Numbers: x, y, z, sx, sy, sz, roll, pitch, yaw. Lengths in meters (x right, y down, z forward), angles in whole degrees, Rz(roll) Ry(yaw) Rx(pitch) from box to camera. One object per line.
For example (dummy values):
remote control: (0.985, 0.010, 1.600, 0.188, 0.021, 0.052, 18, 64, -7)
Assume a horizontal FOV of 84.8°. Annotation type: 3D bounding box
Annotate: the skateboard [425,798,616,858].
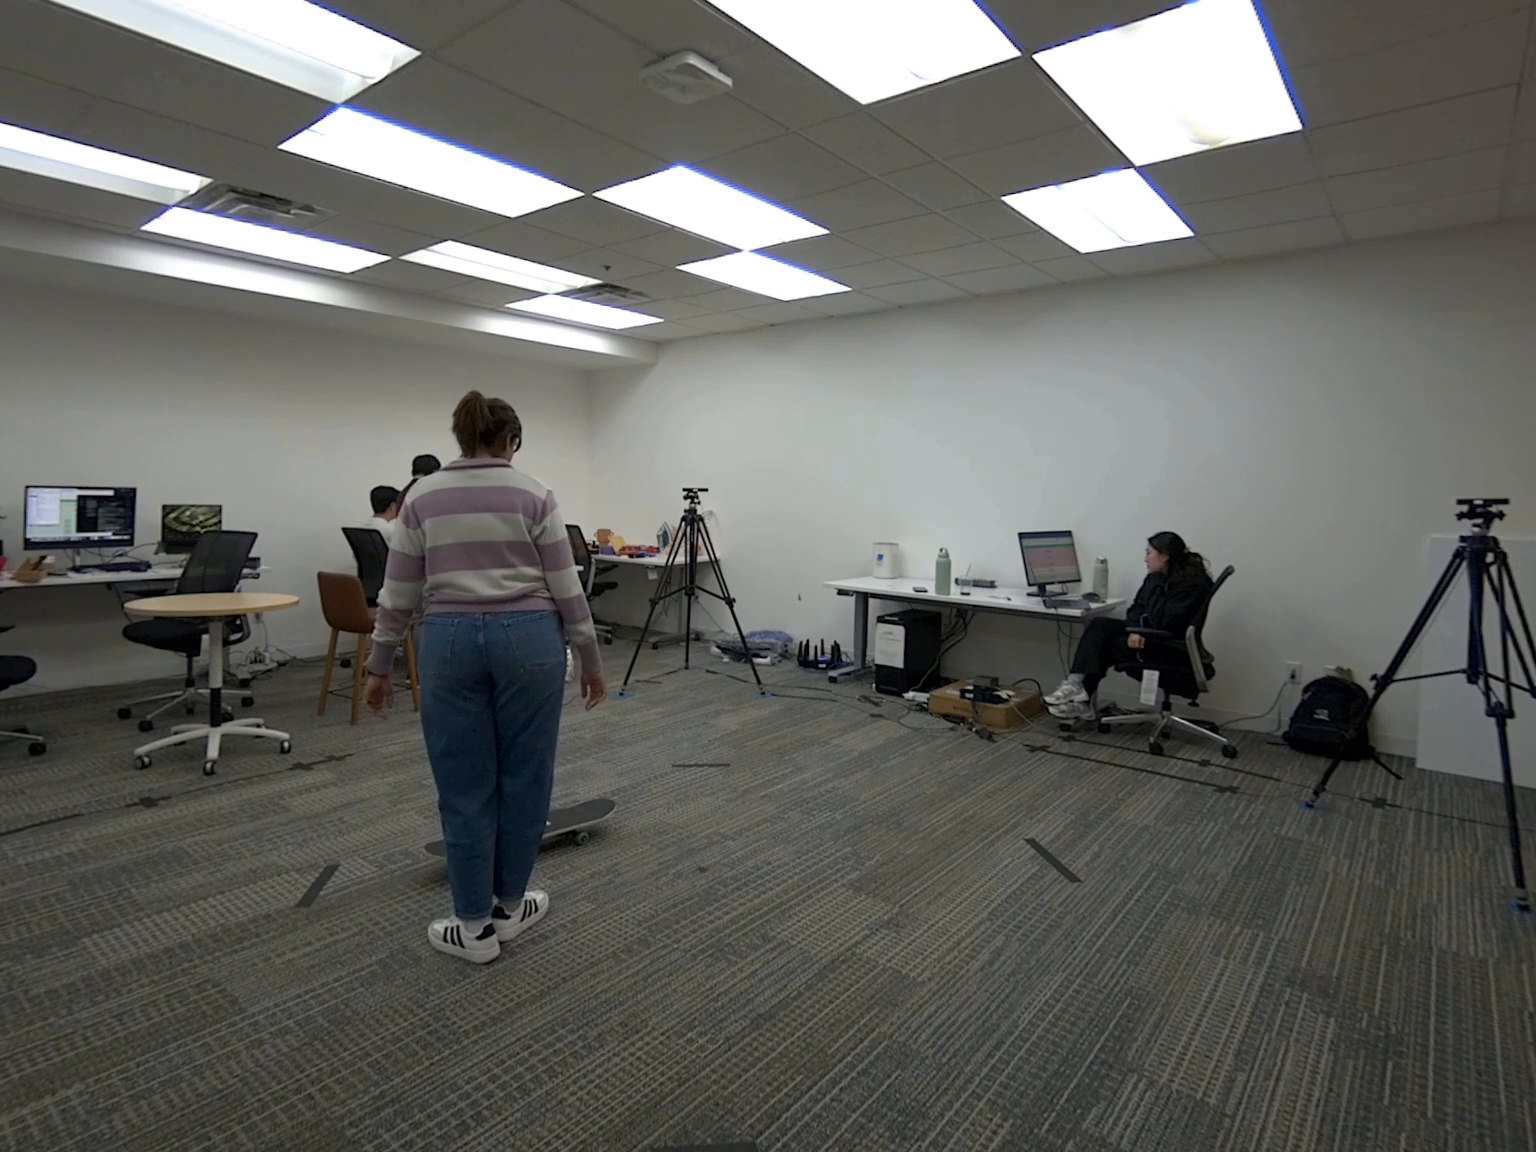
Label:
skateboard: (-0.926, 0.990, 3.233, 0.762, 0.110, 0.200, -4, 8, -43)
